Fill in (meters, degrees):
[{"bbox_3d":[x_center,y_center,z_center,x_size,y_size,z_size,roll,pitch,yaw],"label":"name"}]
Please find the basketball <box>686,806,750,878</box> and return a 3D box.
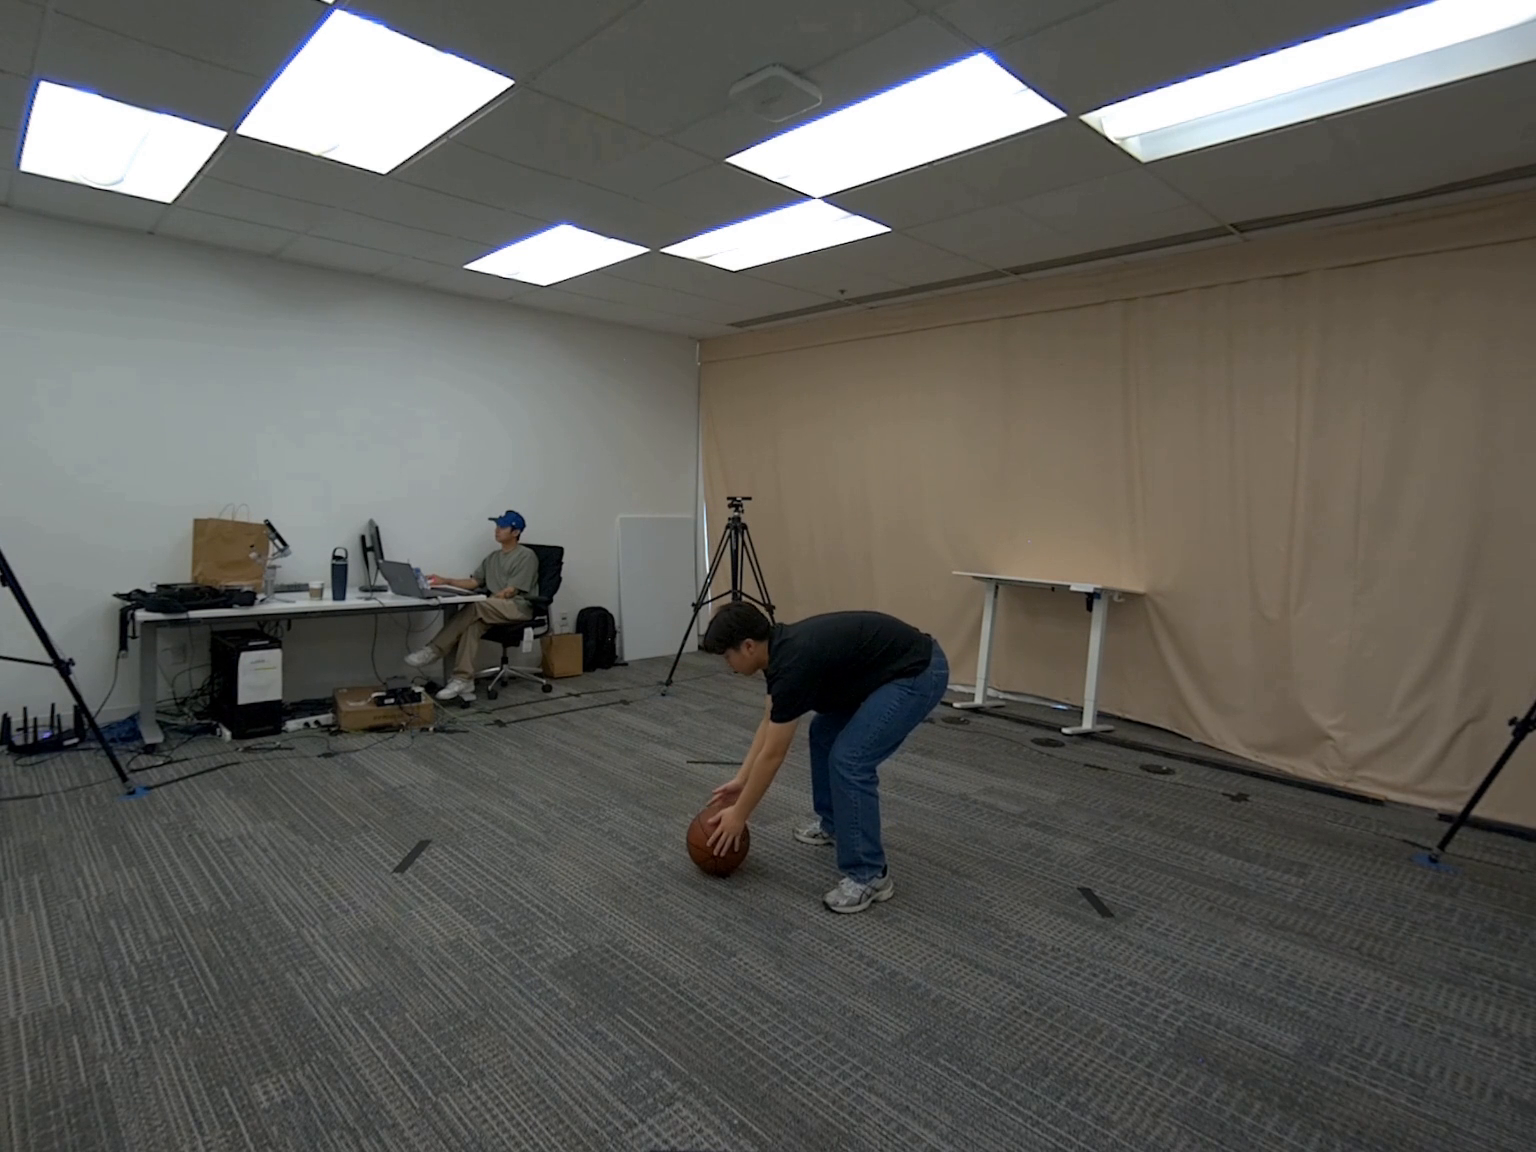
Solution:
[{"bbox_3d":[-0.190,0.979,3.132,0.236,0.235,0.237,1,4,-1],"label":"basketball"}]
